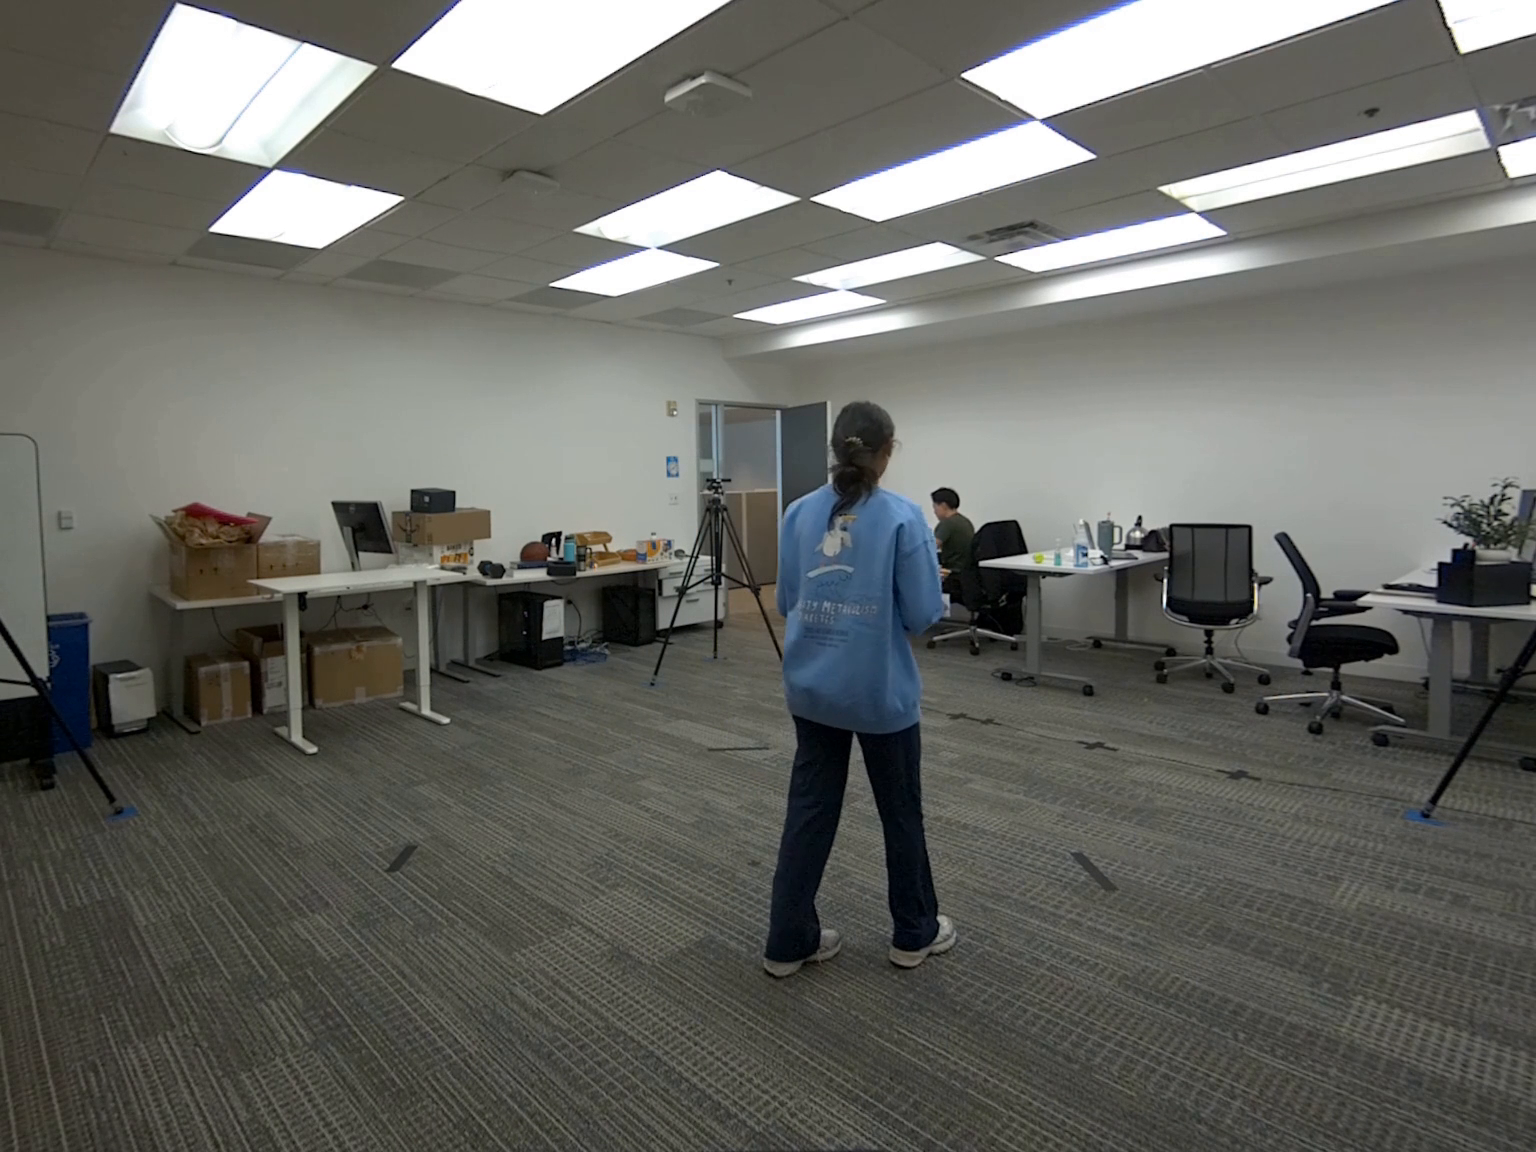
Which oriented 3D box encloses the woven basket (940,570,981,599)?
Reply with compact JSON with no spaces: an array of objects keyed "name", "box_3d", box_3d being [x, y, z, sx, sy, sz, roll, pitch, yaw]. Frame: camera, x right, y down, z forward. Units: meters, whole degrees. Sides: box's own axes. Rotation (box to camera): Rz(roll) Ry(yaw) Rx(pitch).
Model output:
[{"name":"woven basket","box_3d":[0.441,0.012,2.696,0.245,0.073,0.360,5,1,-36]}]
